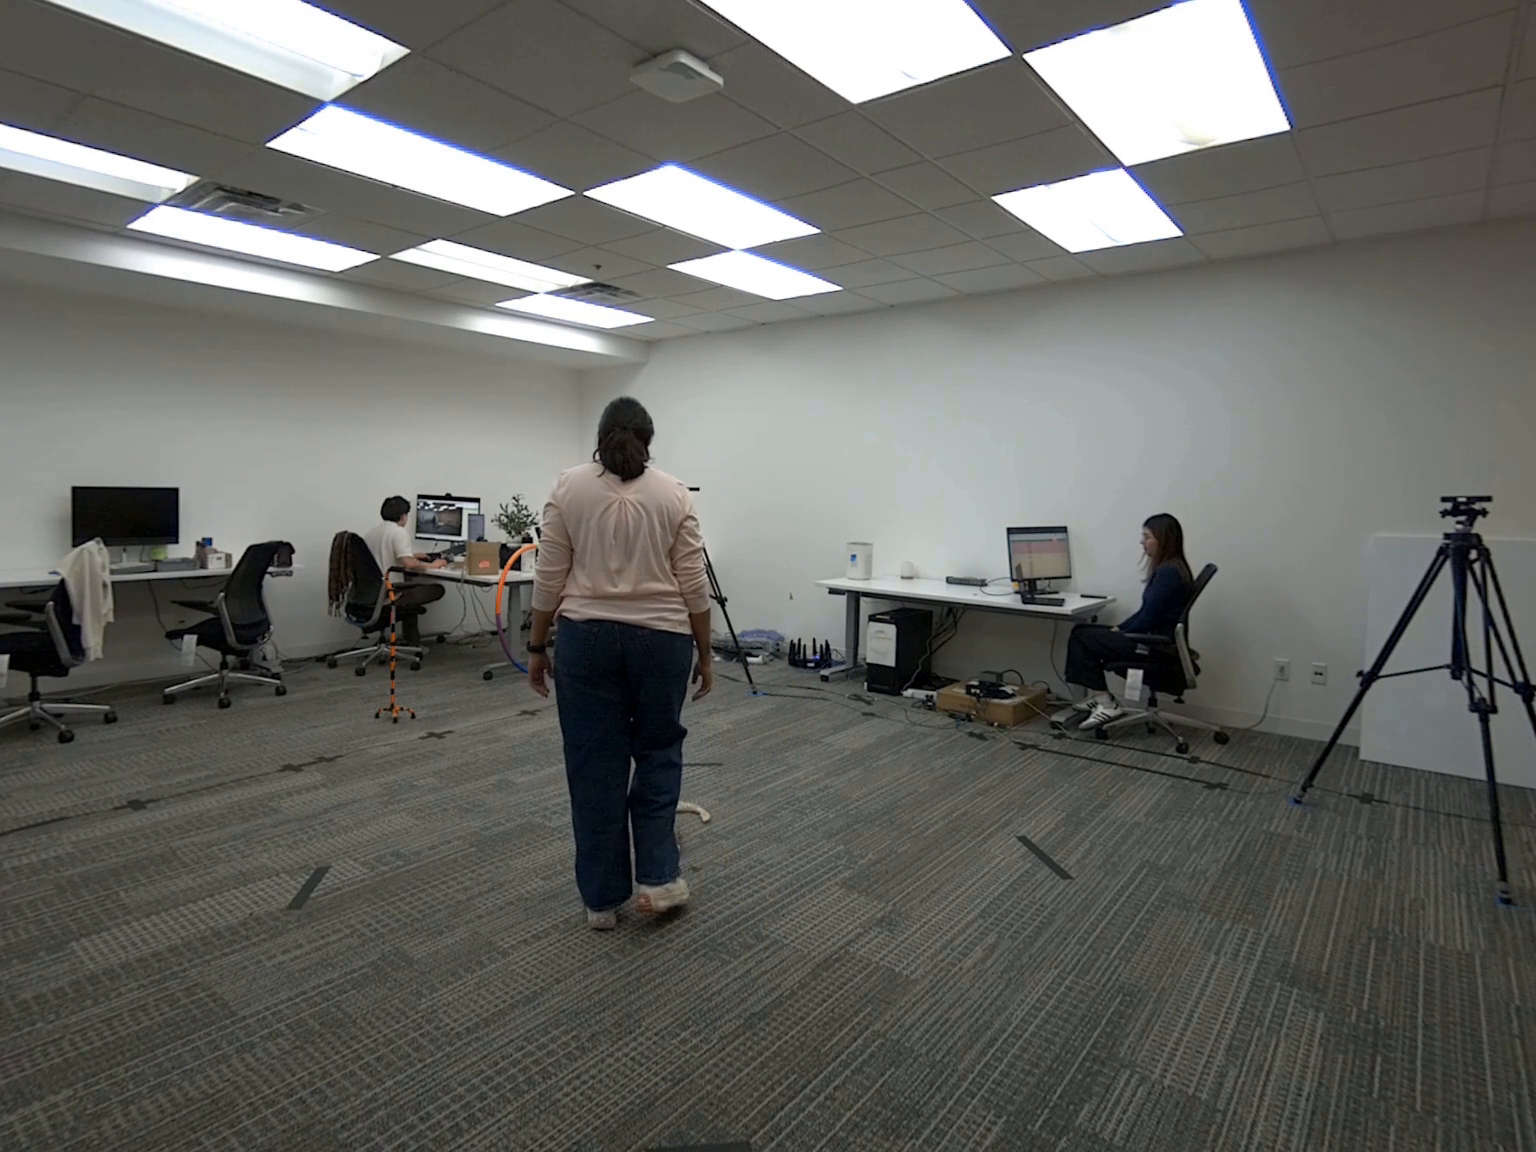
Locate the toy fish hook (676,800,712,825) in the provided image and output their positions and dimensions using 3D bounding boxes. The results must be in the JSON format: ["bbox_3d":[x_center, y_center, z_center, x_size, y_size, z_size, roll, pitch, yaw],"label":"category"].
[{"bbox_3d":[-0.344,1.001,3.449,0.223,0.048,0.513,-2,6,-9],"label":"toy fish hook"}]
